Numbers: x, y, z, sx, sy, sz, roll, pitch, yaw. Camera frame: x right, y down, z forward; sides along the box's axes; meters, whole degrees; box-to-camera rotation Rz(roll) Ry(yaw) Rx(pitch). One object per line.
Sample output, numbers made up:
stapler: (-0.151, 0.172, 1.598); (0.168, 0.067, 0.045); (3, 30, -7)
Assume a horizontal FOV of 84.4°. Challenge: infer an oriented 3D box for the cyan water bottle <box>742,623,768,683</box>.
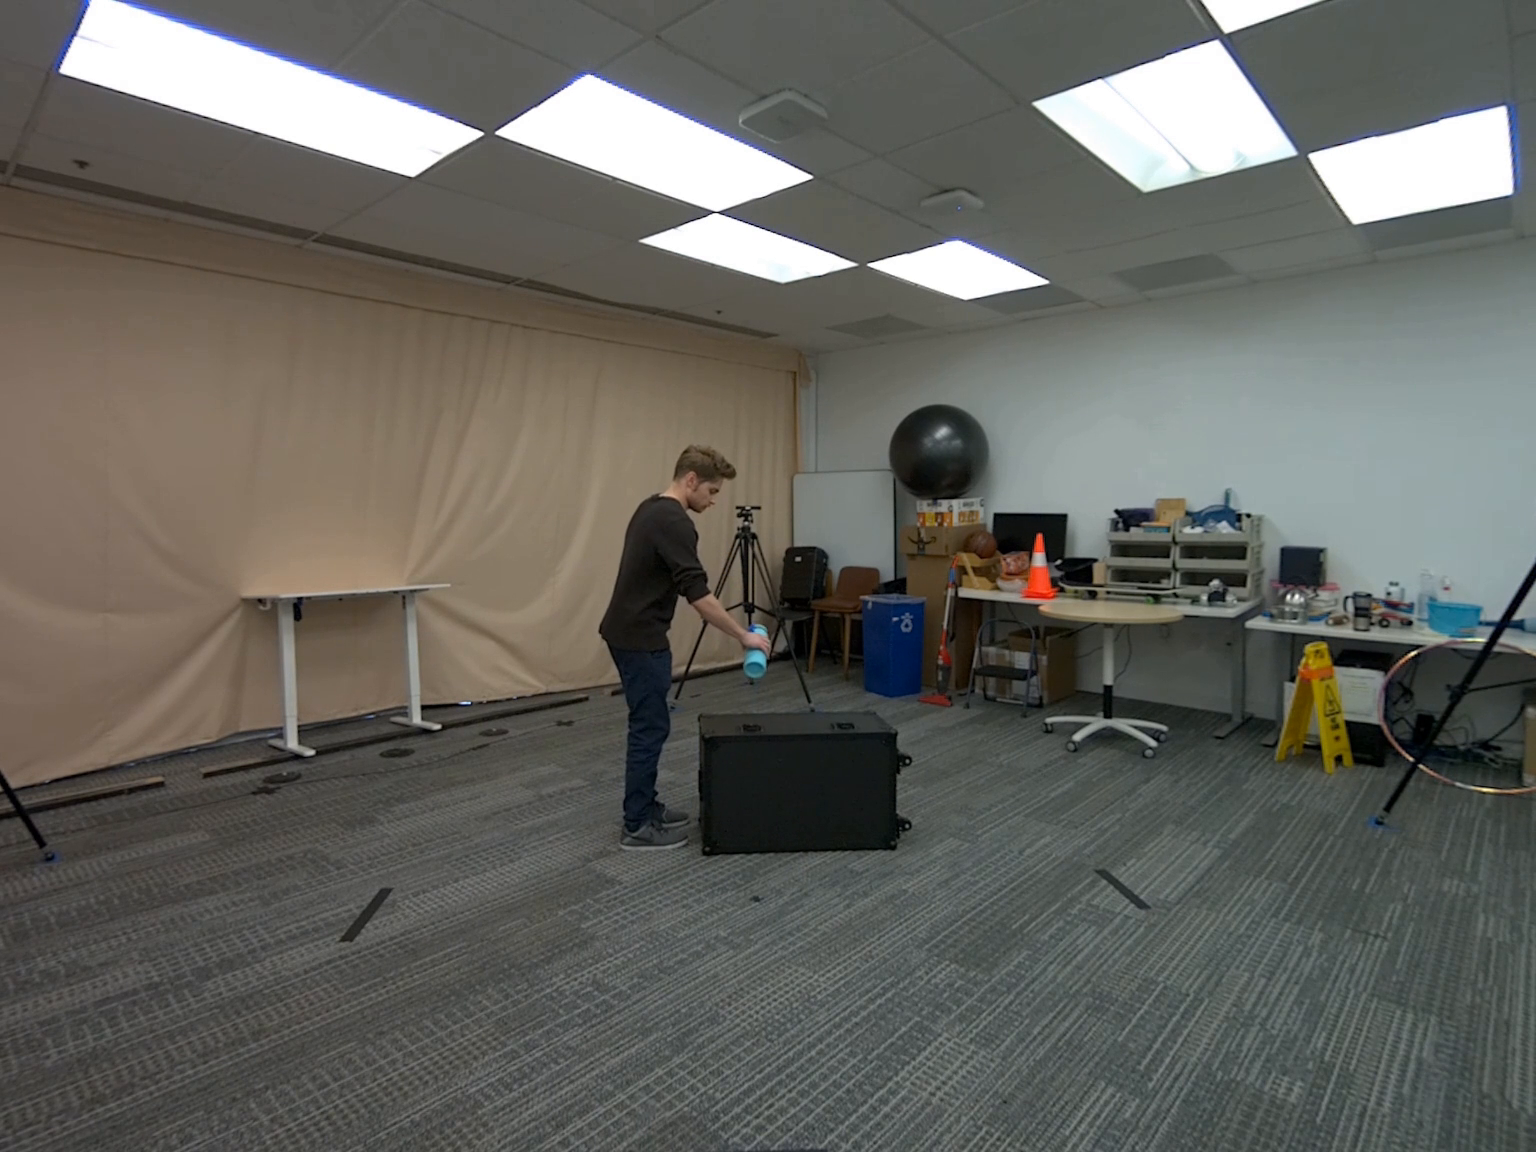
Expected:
cyan water bottle: (-0.045, 0.298, 3.466); (0.093, 0.090, 0.287); (0, 32, 3)
